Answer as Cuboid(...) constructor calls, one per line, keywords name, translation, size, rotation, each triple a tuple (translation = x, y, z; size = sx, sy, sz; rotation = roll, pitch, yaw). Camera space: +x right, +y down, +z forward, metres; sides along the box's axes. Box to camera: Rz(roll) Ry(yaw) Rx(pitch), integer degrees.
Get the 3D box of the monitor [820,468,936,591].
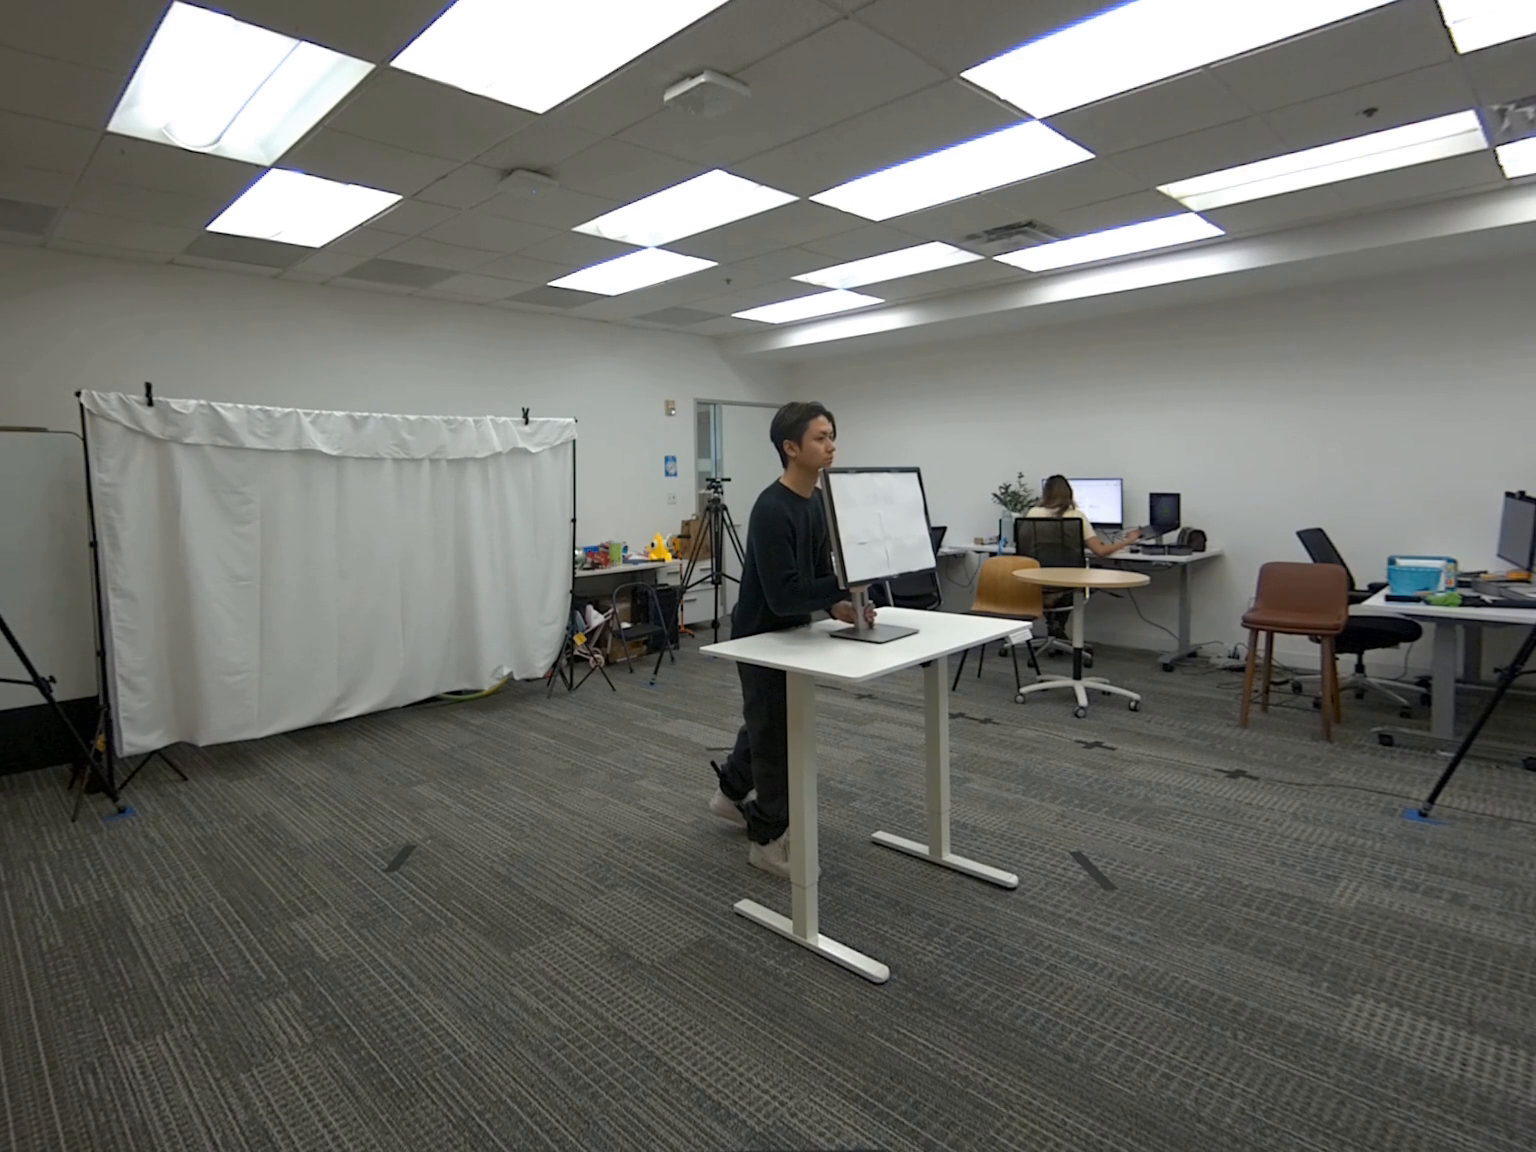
Cuboid(name="monitor", translation=(0.343, -0.078, 2.750), size=(0.180, 0.513, 0.515), rotation=(10, 9, 41))
